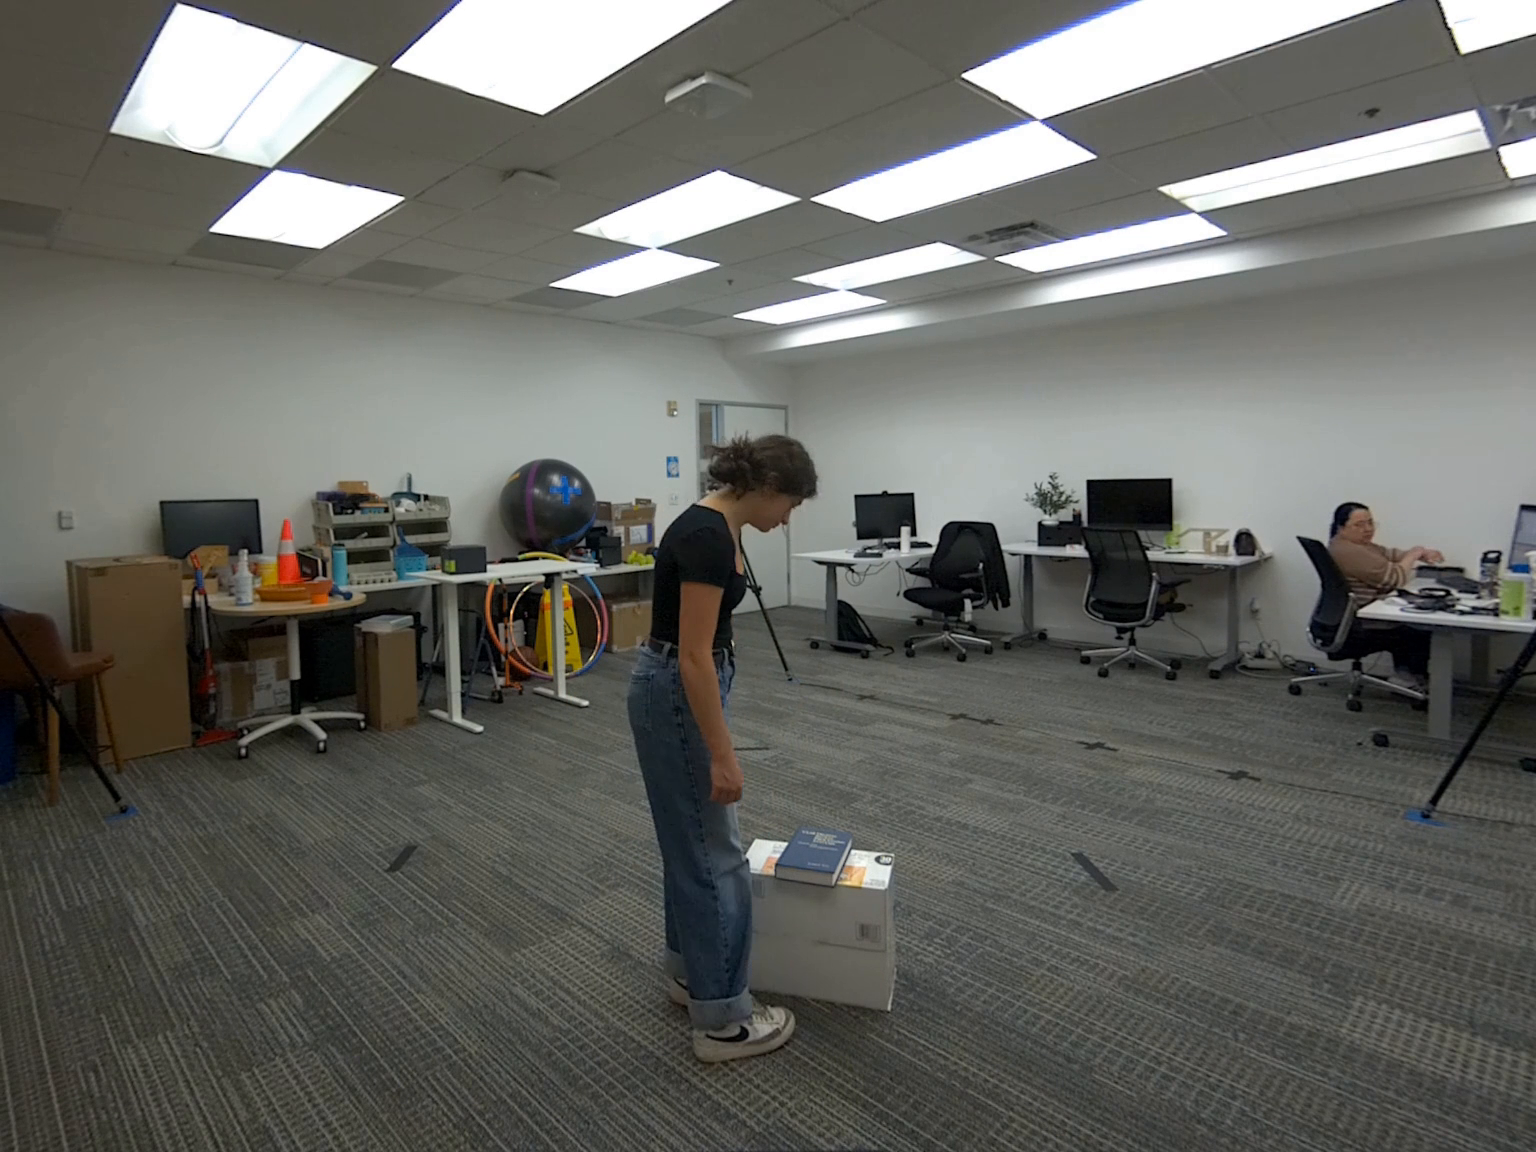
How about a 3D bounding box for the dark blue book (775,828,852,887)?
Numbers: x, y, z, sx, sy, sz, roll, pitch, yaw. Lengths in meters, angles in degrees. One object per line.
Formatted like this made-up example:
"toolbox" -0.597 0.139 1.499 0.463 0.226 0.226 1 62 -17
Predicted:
"dark blue book" 0.131 0.770 2.356 0.166 0.045 0.242 1 8 17
